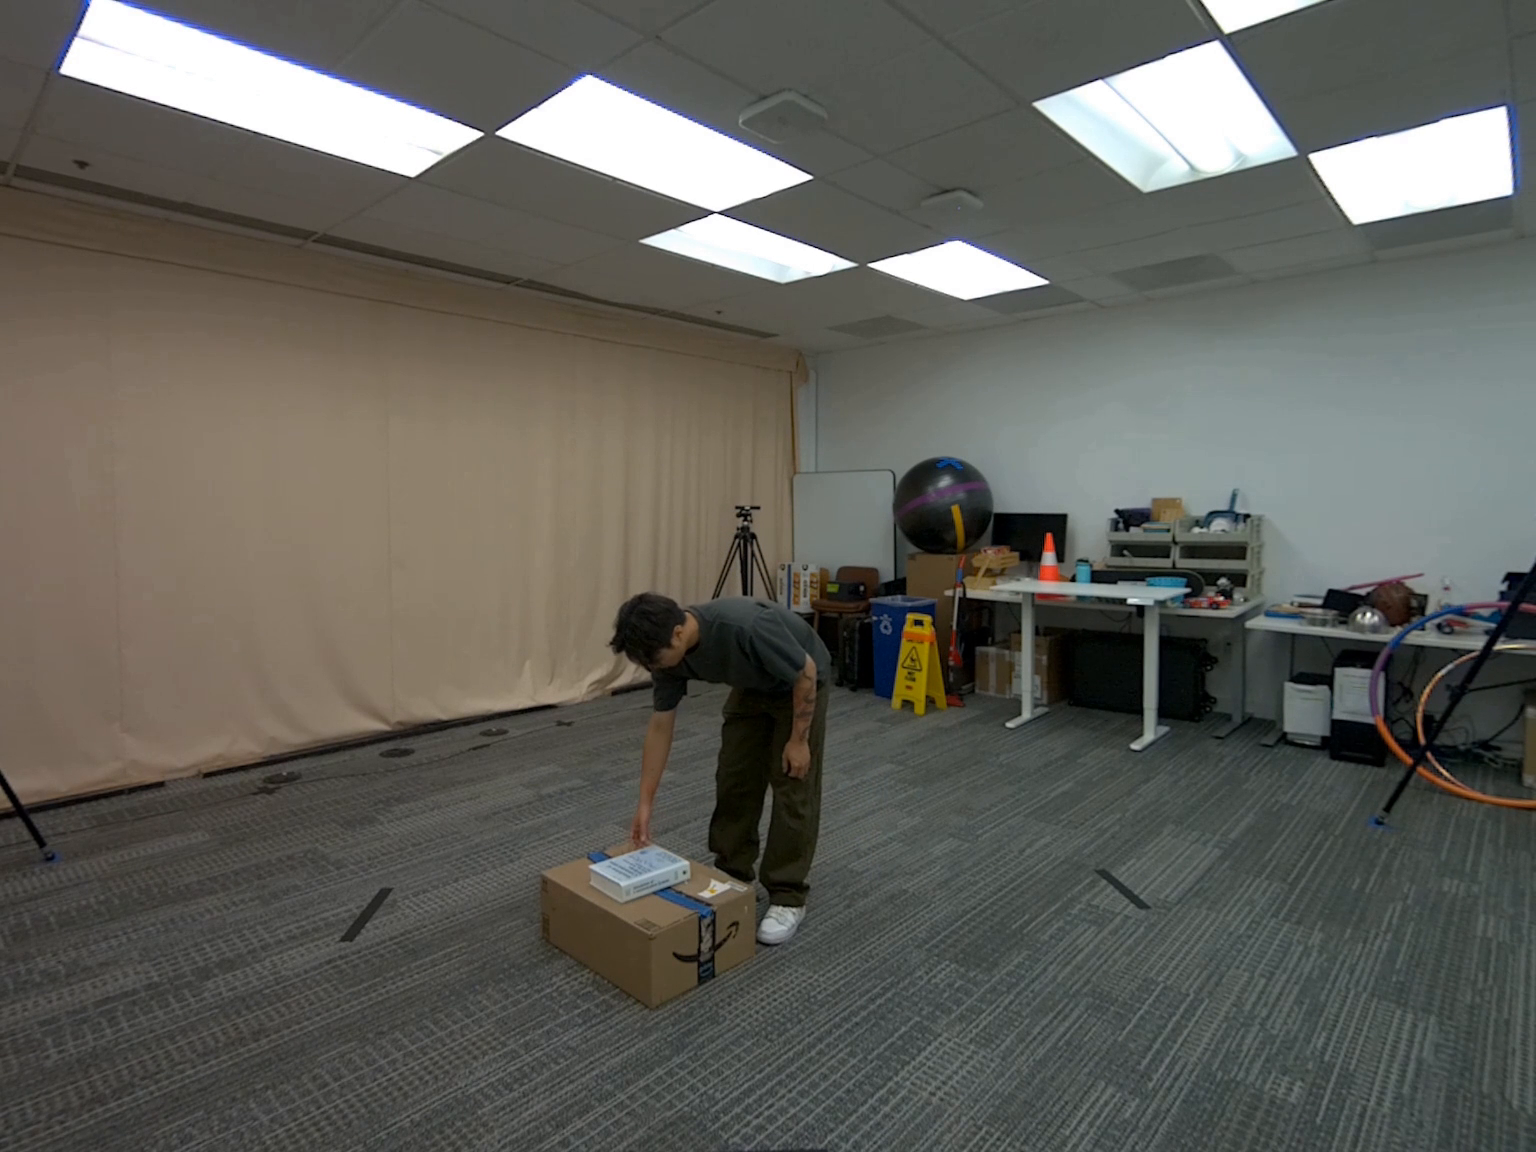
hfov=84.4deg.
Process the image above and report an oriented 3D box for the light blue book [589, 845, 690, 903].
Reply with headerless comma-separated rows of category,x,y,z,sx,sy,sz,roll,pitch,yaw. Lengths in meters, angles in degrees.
light blue book,-0.408,0.936,2.656,0.253,0.059,0.198,-3,5,-42
